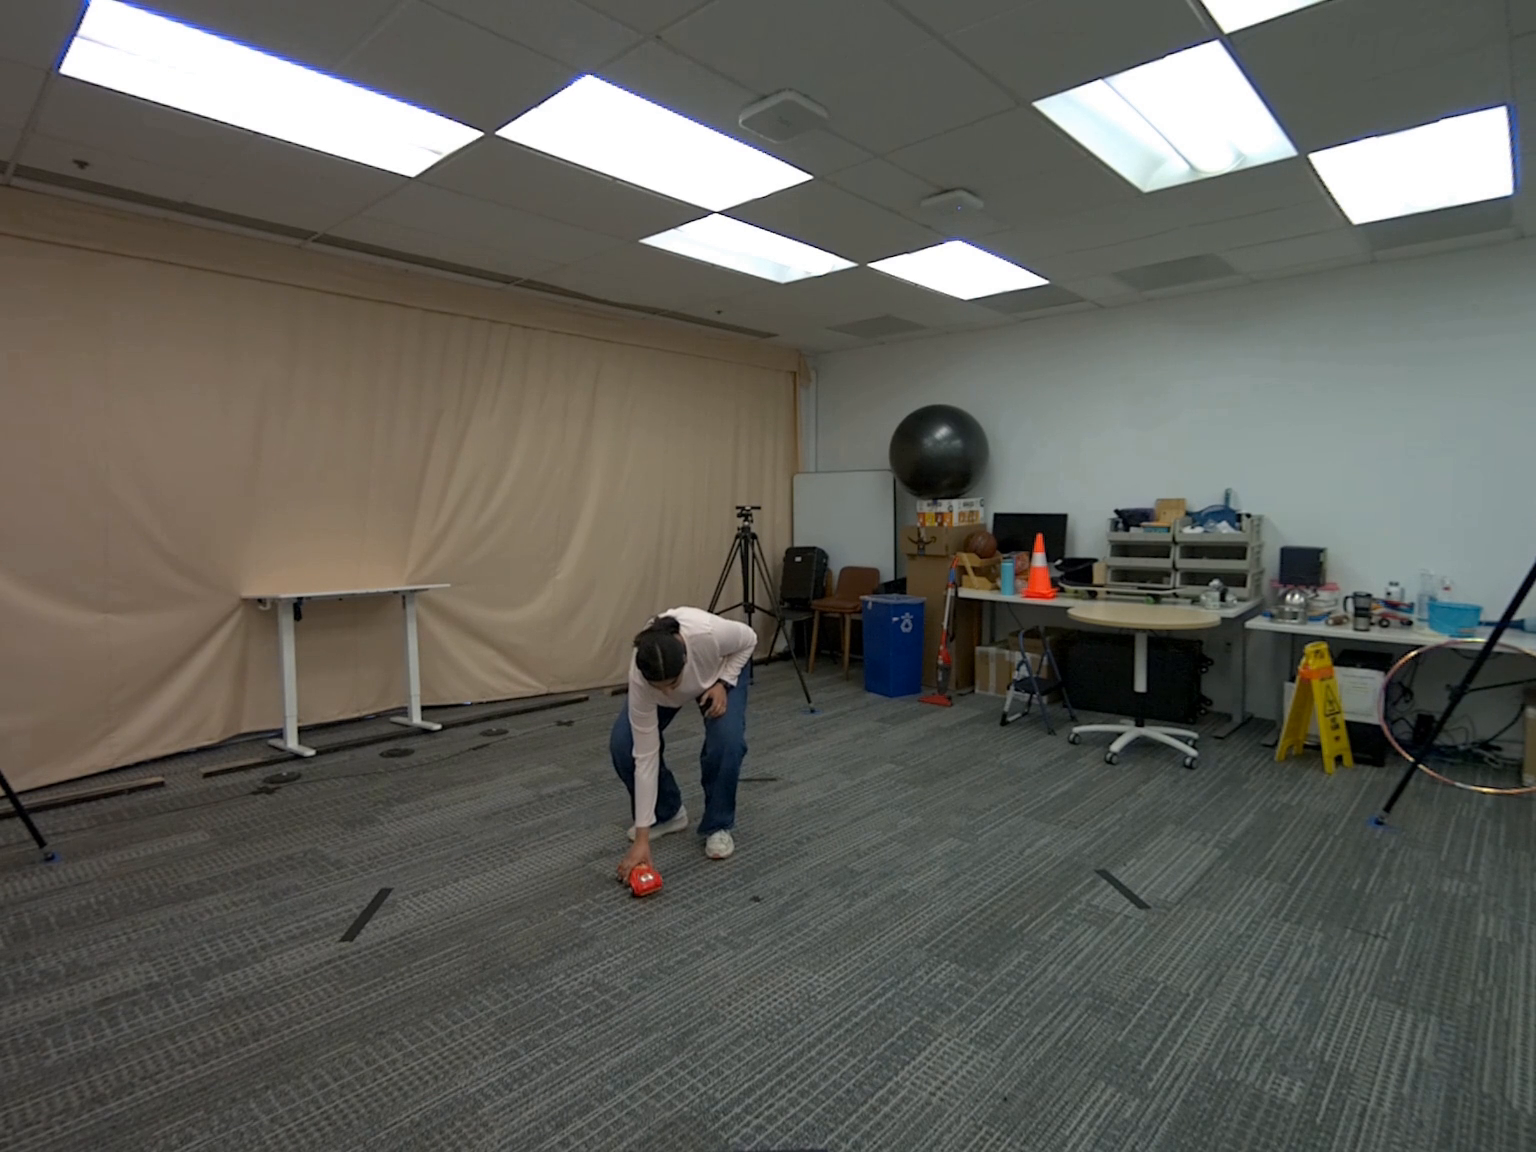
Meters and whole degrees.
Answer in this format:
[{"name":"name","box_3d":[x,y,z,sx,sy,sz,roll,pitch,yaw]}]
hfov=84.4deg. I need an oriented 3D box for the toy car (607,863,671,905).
[{"name":"toy car","box_3d":[-0.471,1.103,3.068,0.127,0.083,0.260,-7,-5,-30]}]
